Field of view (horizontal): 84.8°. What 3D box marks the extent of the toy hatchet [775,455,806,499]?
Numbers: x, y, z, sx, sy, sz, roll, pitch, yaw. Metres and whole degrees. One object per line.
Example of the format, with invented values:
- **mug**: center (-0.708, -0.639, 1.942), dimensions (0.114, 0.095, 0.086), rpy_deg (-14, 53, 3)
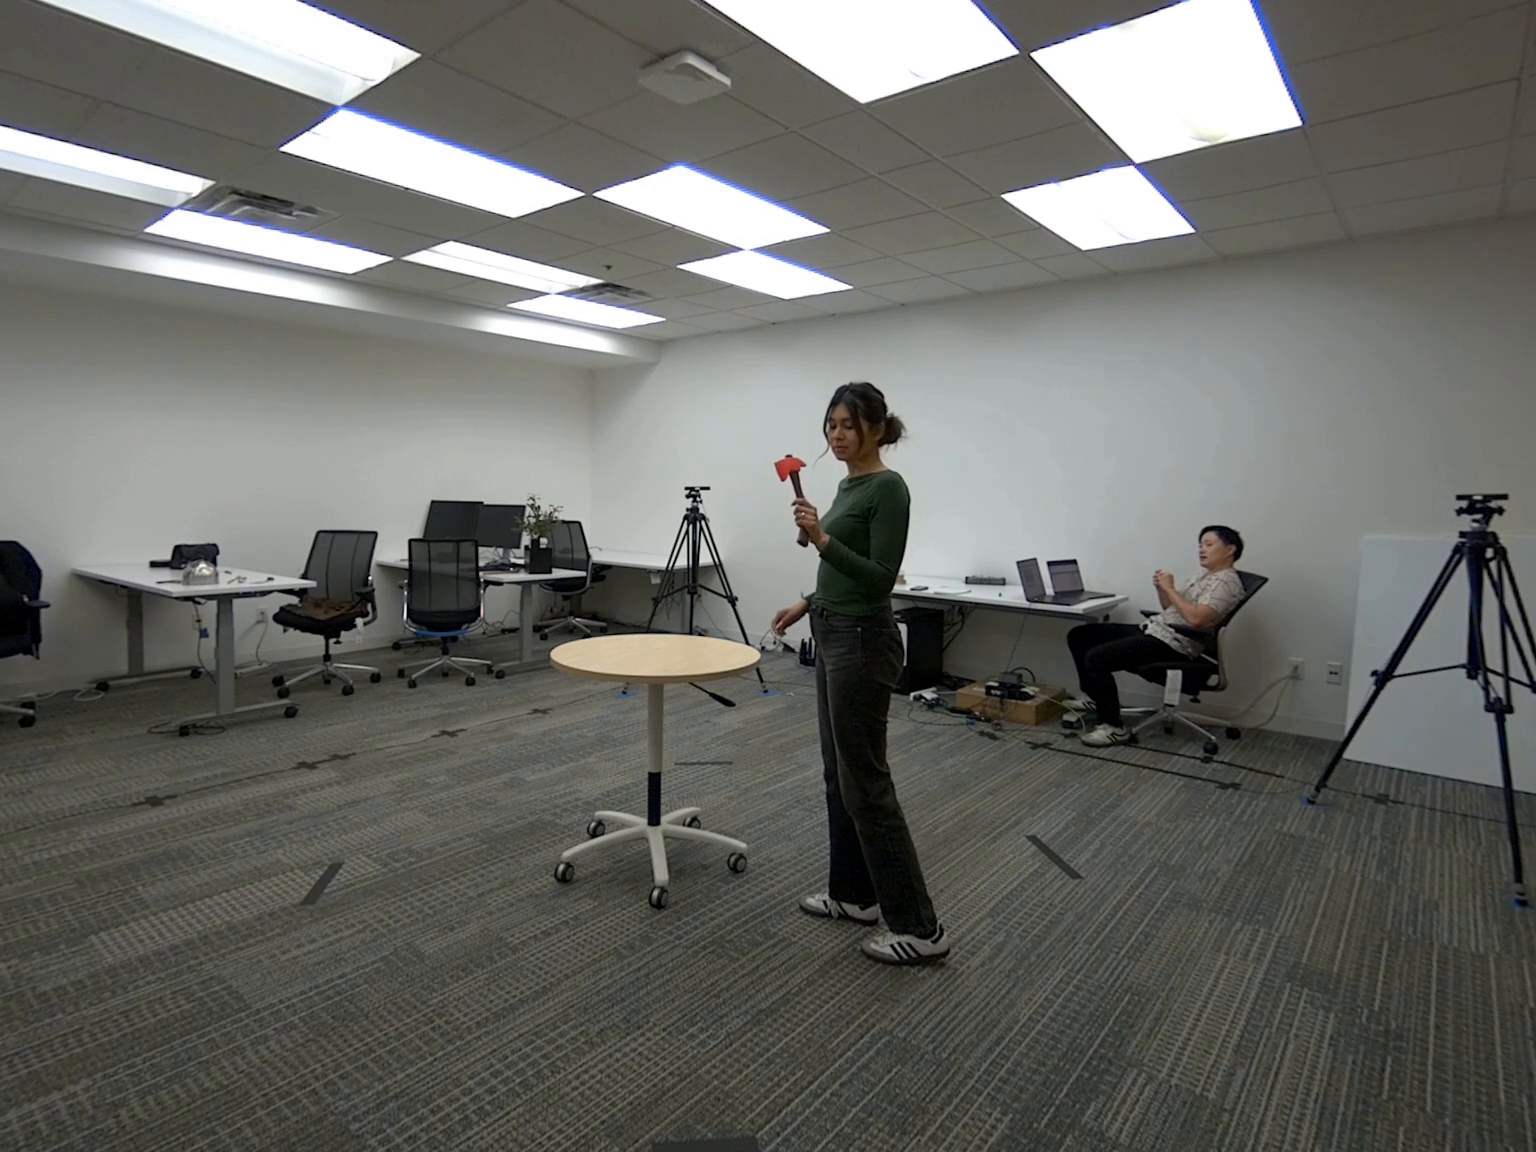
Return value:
- **toy hatchet**: center (0.060, -0.228, 2.408), dimensions (0.126, 0.276, 0.030), rpy_deg (19, -31, -39)
